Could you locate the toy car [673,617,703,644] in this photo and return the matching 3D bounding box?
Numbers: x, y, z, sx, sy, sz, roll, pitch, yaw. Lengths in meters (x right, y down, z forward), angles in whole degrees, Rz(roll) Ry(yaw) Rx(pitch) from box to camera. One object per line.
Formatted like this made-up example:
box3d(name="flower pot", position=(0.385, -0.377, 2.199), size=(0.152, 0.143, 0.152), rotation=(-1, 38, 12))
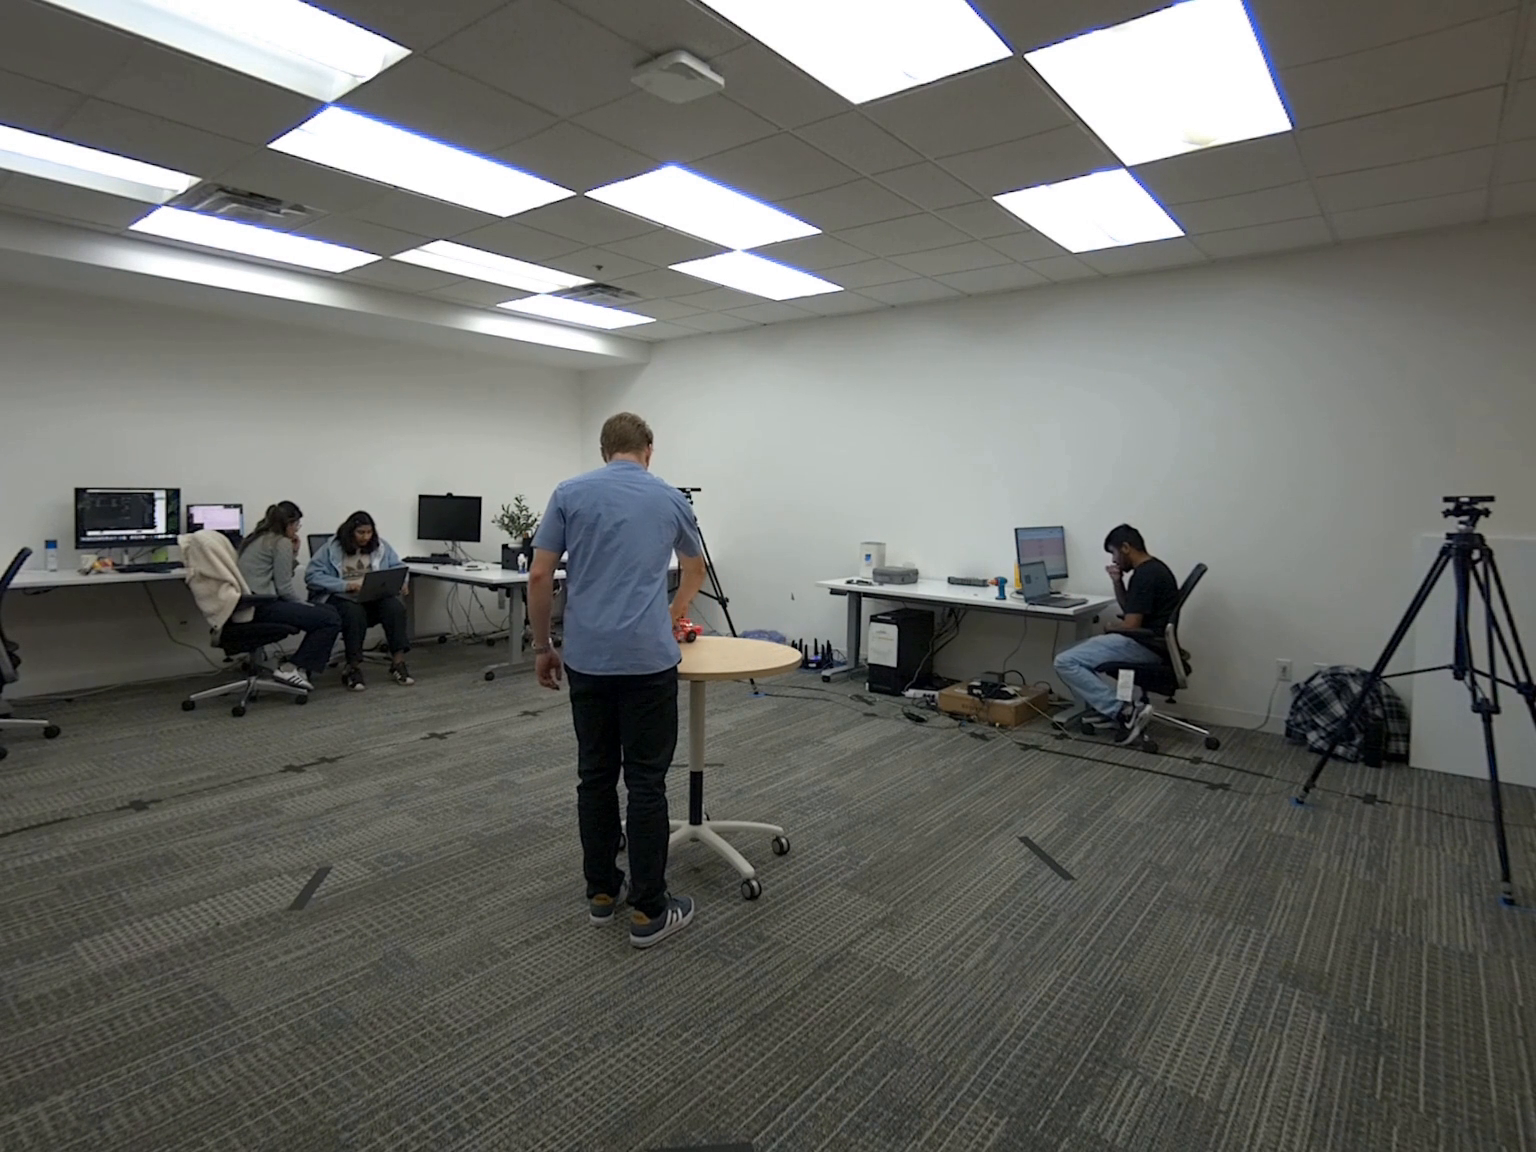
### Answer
box3d(name="toy car", position=(-0.379, 0.230, 3.374), size=(0.249, 0.082, 0.135), rotation=(-20, 17, -39))
